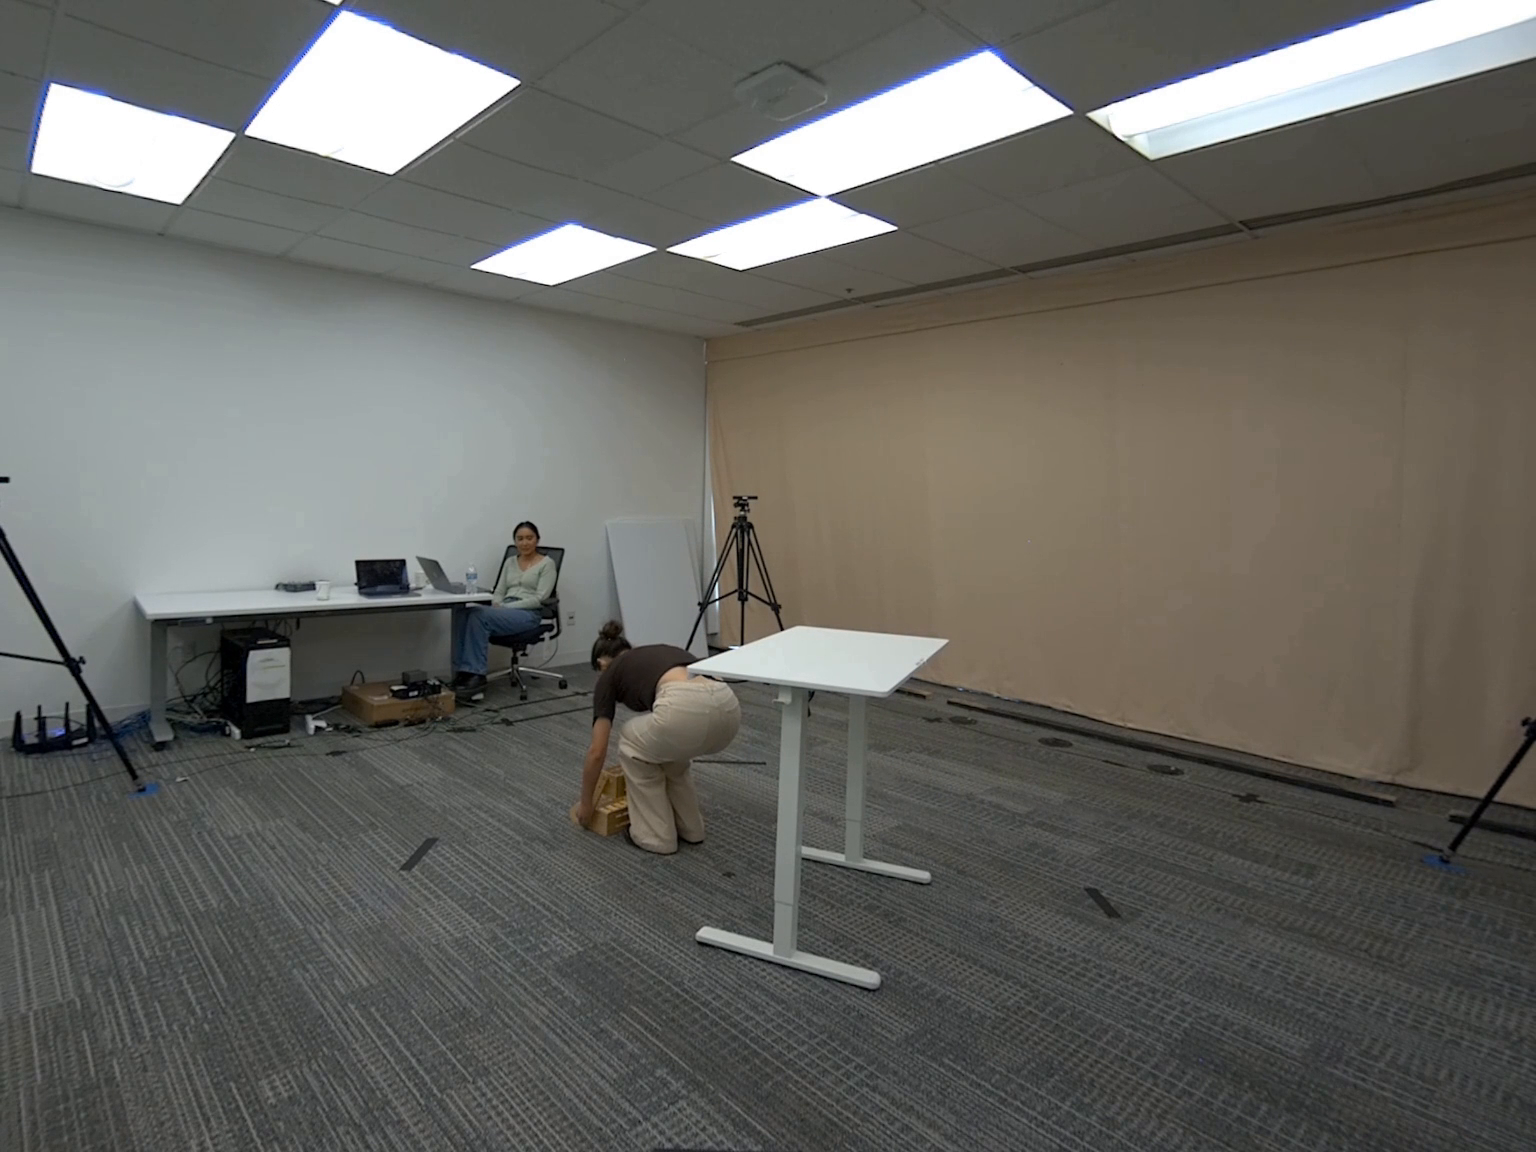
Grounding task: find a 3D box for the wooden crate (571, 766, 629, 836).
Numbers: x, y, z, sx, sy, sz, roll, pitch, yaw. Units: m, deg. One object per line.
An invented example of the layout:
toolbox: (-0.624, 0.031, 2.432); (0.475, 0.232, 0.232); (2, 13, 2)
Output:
wooden crate: (-0.641, 0.911, 3.598); (0.310, 0.272, 0.317); (6, 6, 39)
